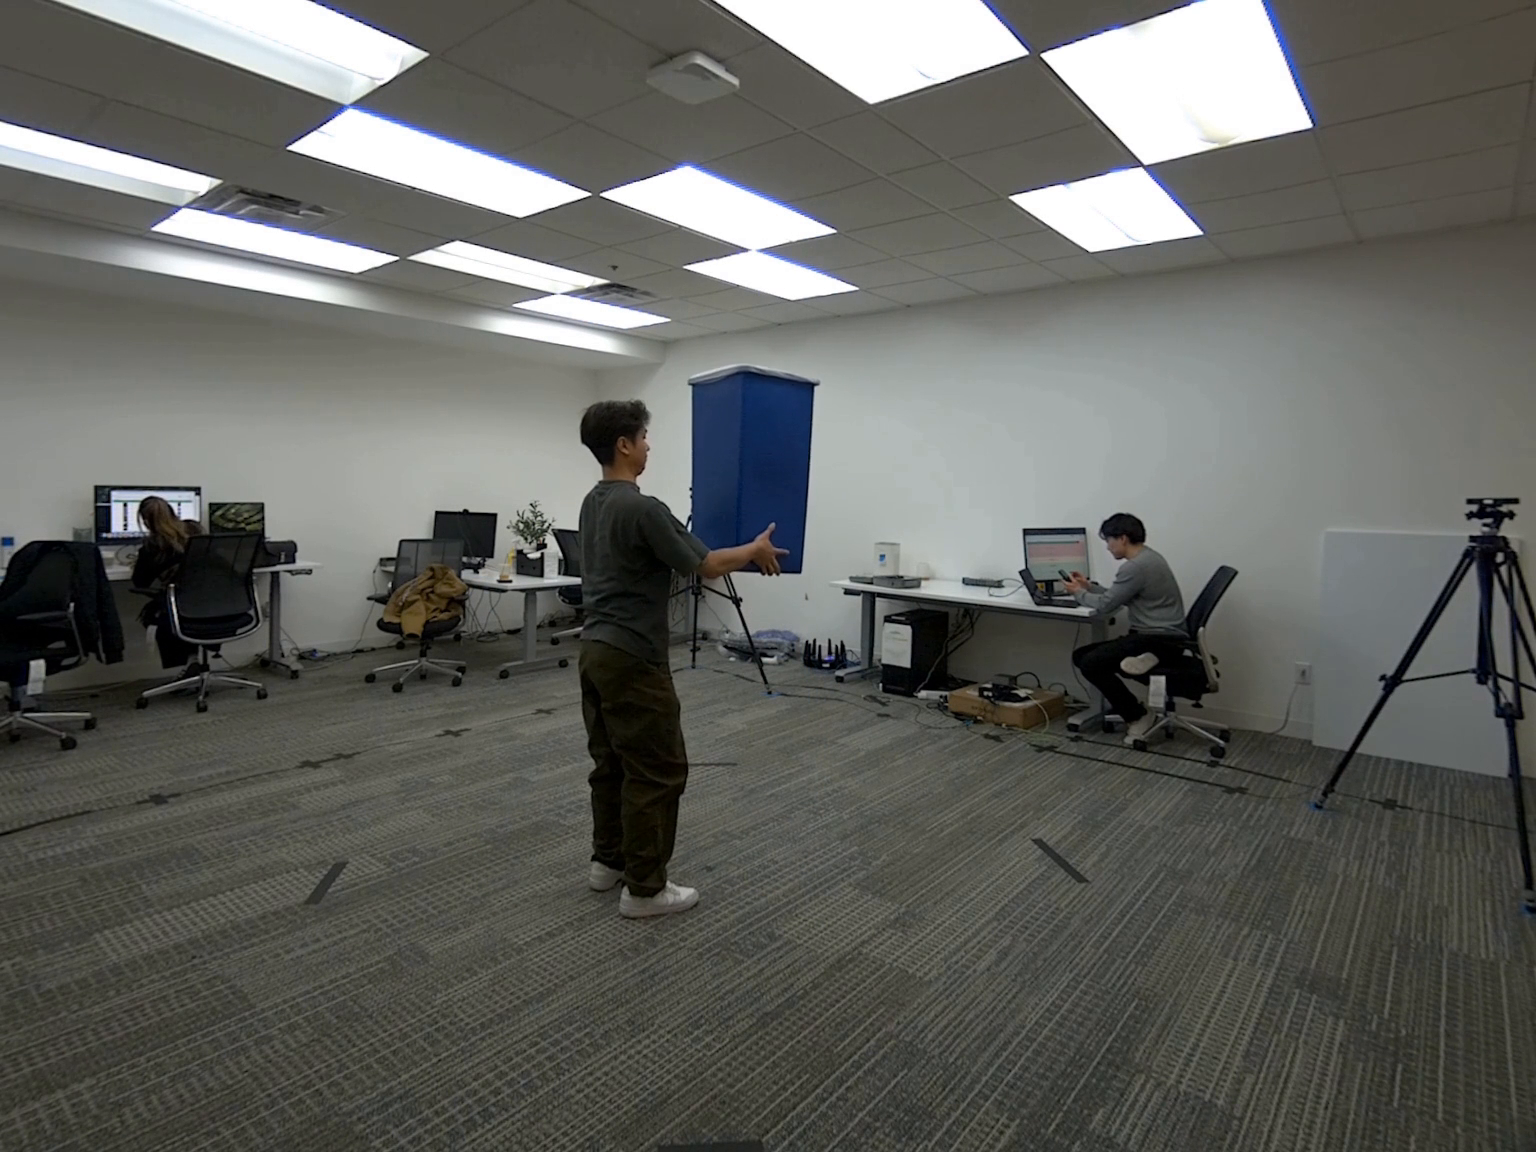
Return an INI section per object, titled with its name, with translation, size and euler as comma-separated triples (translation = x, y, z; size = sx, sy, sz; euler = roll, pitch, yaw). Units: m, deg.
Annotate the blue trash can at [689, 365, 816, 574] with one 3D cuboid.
[blue trash can]
translation = -0.085, -0.382, 3.140
size = 0.366, 0.714, 0.386
euler = 3, 0, -38
